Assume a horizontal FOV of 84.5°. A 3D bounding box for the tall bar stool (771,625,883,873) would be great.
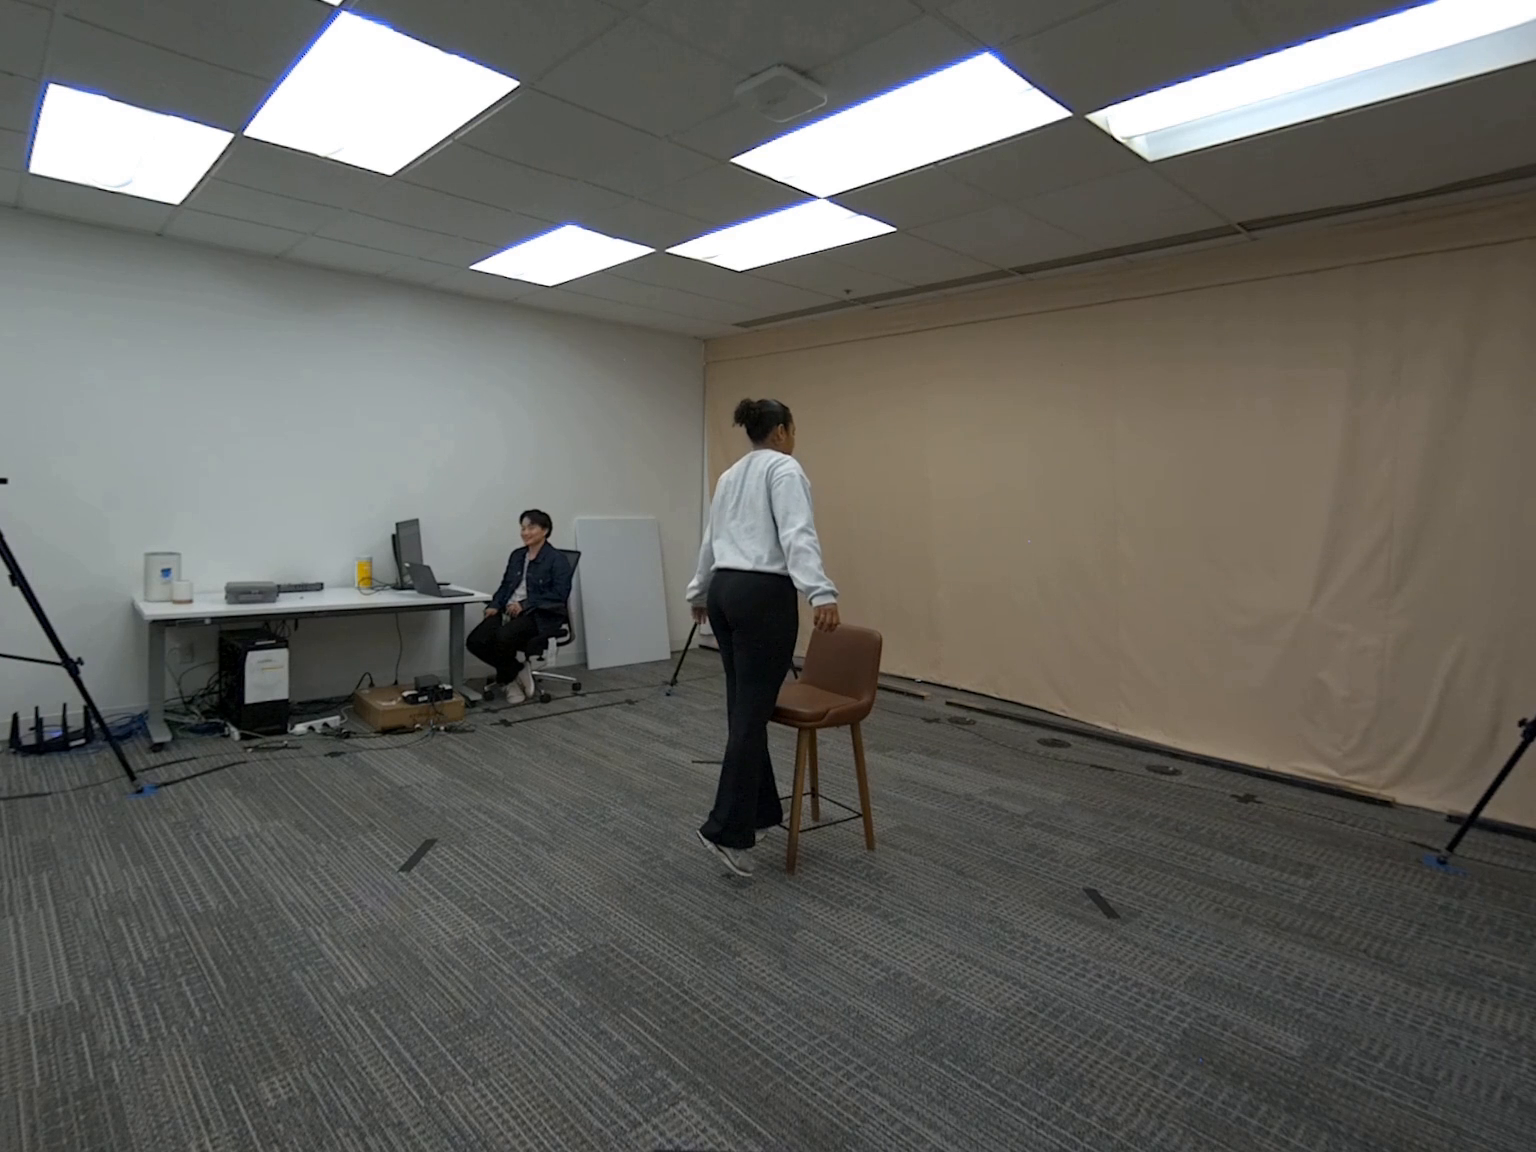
[{"bbox_3d":[0.150,0.648,3.394,0.457,0.888,0.467,1,2,-35],"label":"tall bar stool"}]
